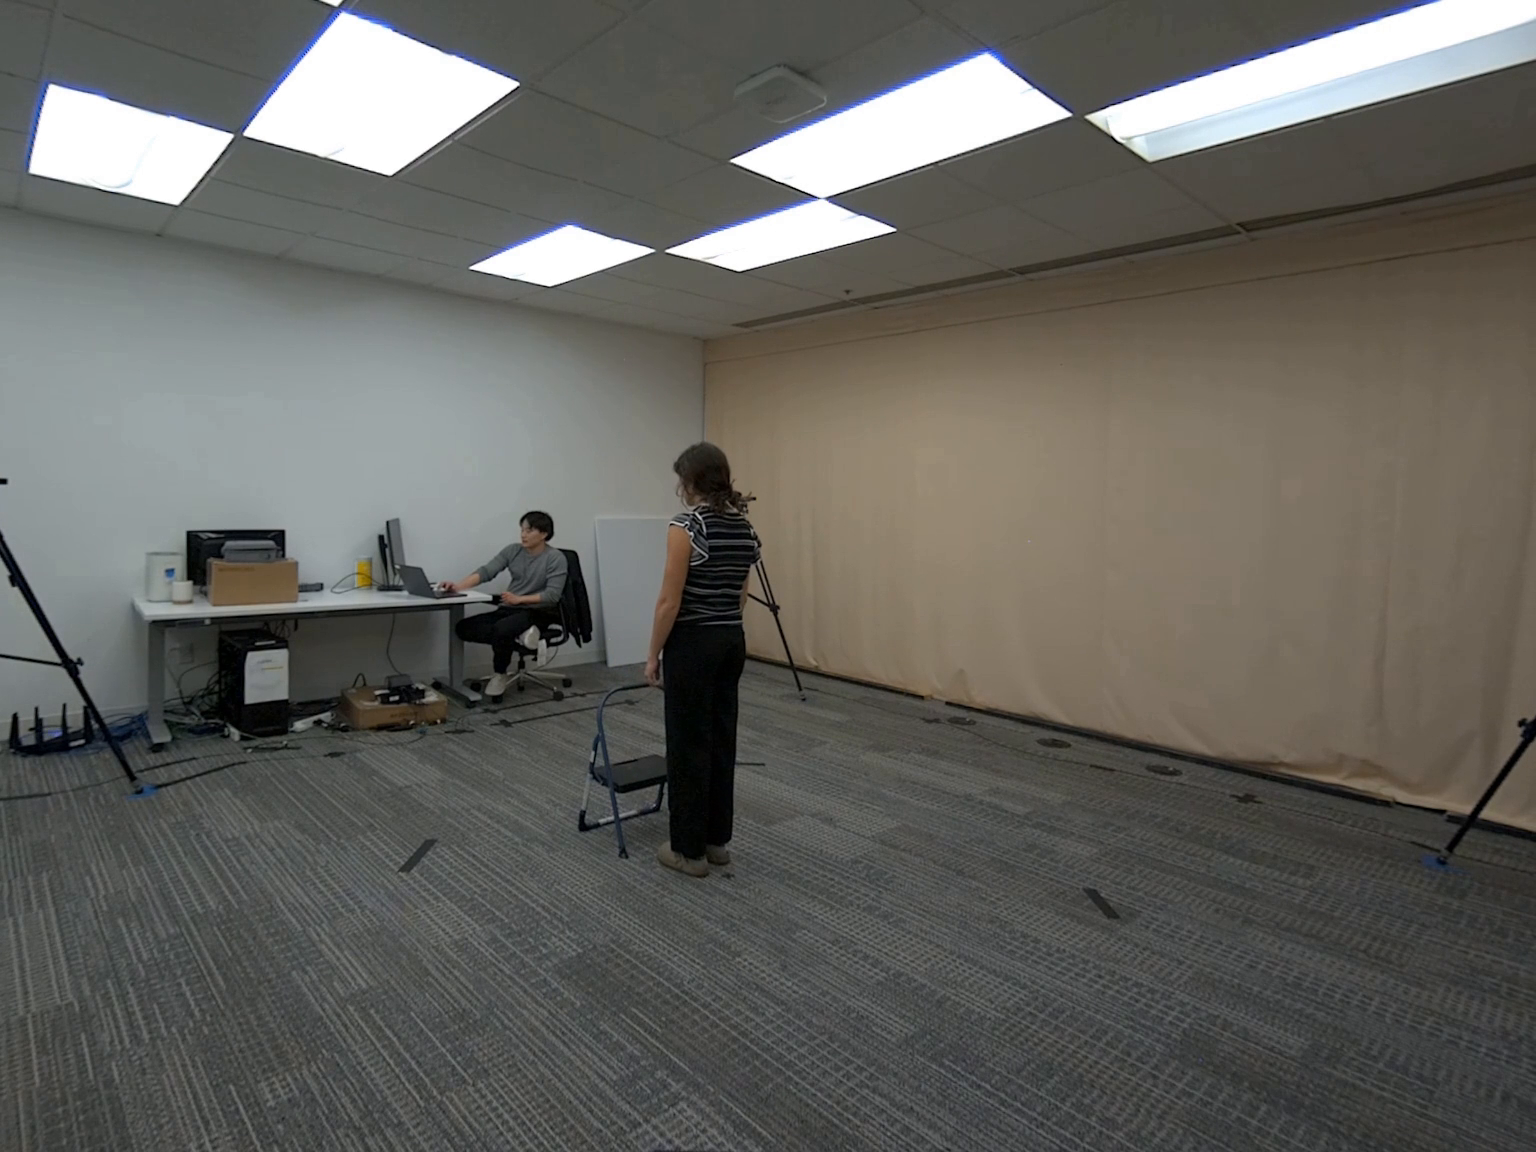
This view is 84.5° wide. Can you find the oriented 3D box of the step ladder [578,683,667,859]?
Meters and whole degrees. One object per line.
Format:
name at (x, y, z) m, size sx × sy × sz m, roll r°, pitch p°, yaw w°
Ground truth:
step ladder at (-0.522, 0.763, 3.484) m, size 0.421 × 0.604 × 0.358 m, roll -2°, pitch 5°, yaw -44°
